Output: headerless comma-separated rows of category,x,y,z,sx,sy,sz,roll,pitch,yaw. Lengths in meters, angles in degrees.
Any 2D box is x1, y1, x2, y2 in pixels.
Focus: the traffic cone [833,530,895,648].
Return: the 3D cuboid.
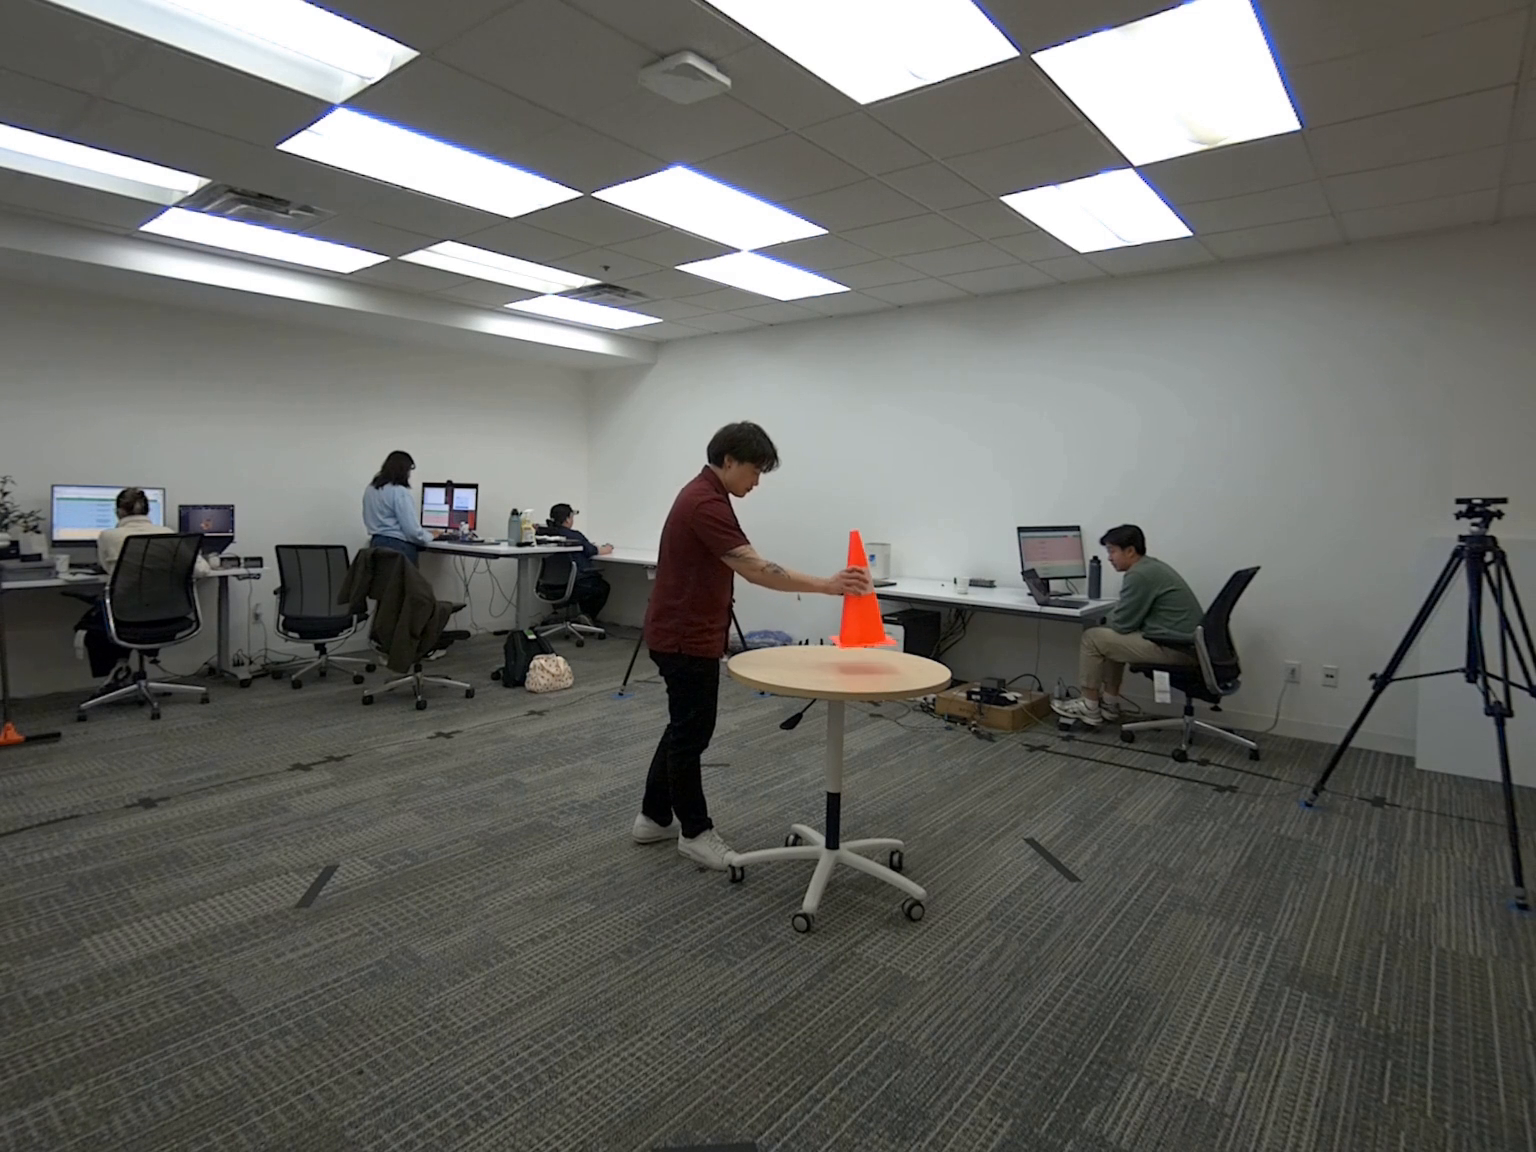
traffic cone,0.300,0.038,2.906,0.204,0.382,0.205,-6,3,-6
